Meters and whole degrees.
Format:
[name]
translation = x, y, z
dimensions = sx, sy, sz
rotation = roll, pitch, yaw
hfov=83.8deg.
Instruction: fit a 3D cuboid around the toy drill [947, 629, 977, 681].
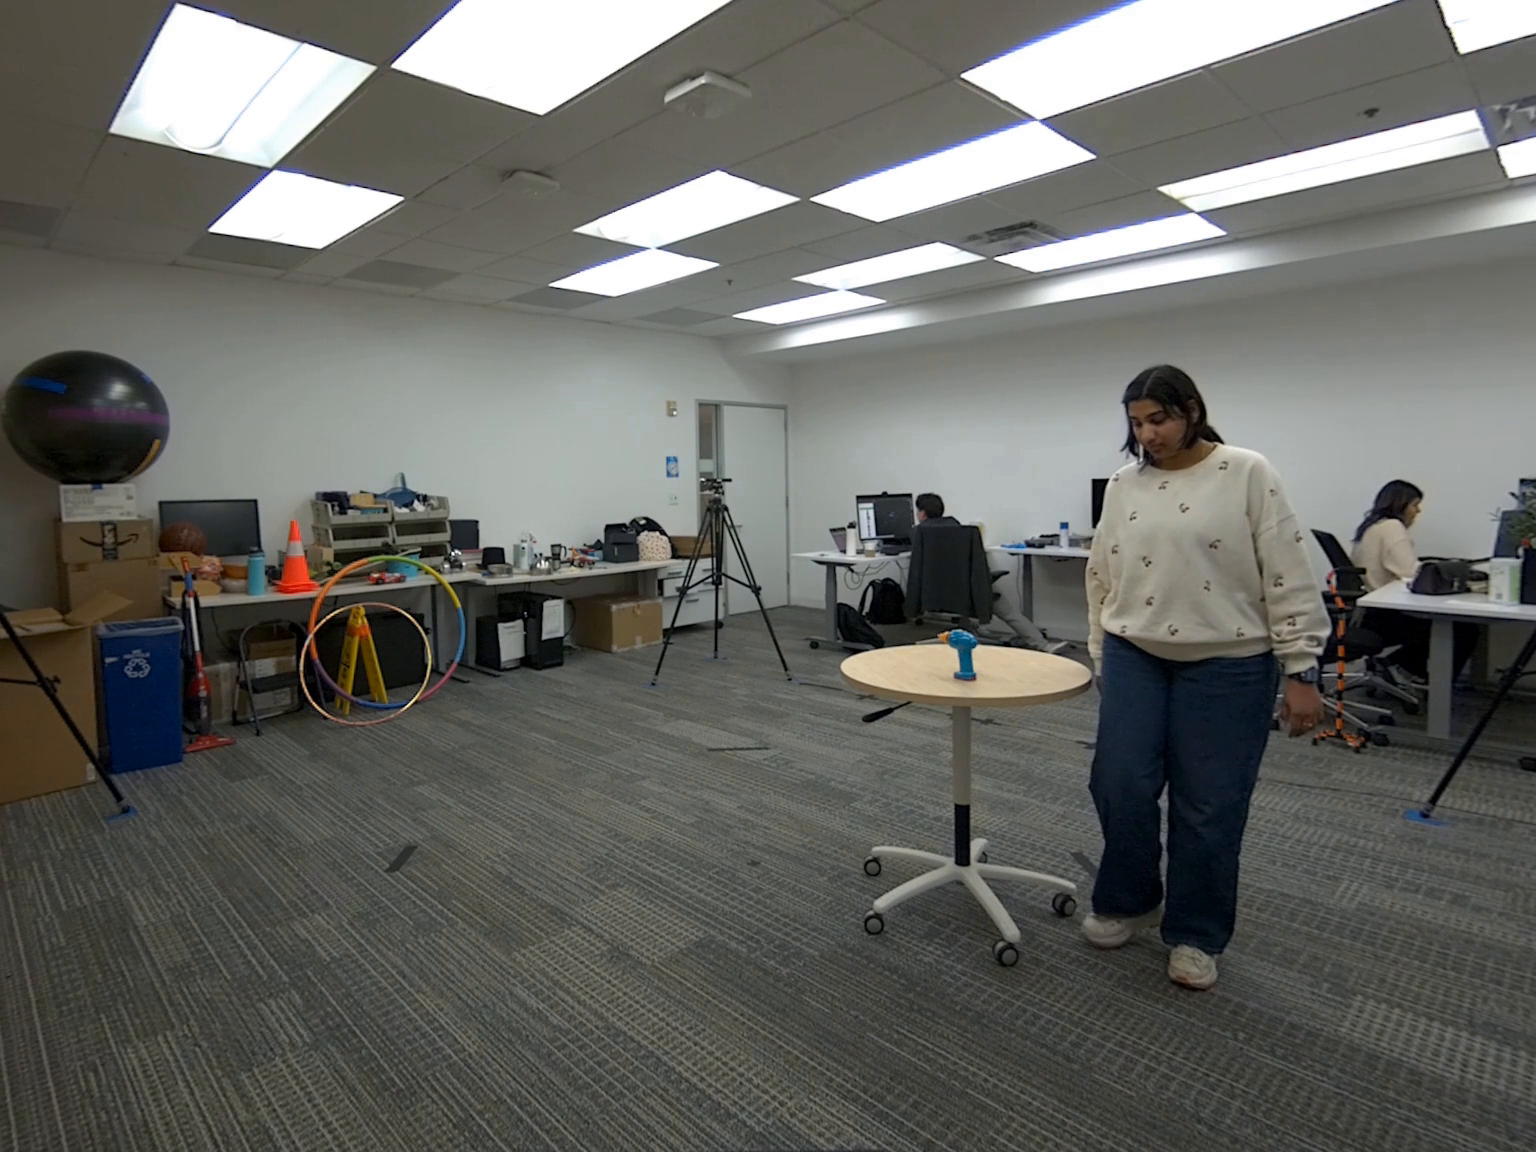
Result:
[toy drill]
translation = 0.584, 0.233, 2.602
dimensions = 0.060, 0.145, 0.173
rotation = -3, 5, -22
